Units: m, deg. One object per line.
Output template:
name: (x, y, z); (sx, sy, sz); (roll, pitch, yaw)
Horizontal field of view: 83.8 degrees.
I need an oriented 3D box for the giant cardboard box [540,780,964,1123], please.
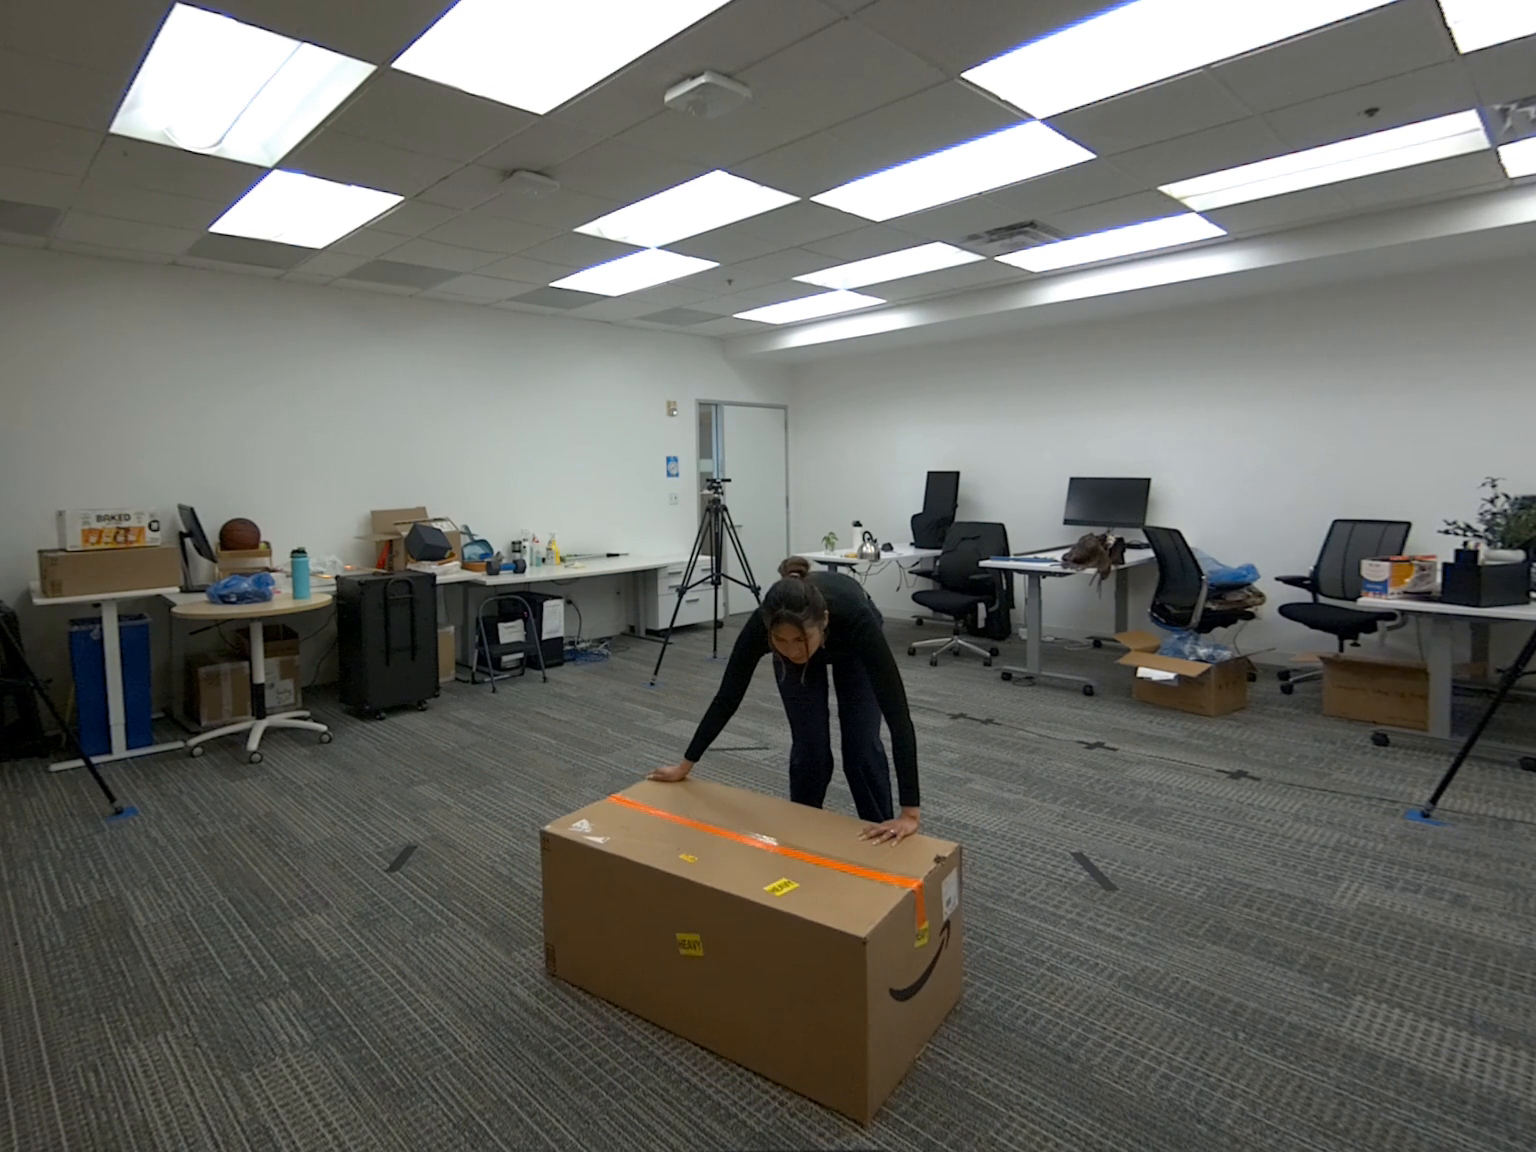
giant cardboard box: (-0.062, 0.921, 2.356); (1.056, 0.425, 0.563); (3, 6, 35)
